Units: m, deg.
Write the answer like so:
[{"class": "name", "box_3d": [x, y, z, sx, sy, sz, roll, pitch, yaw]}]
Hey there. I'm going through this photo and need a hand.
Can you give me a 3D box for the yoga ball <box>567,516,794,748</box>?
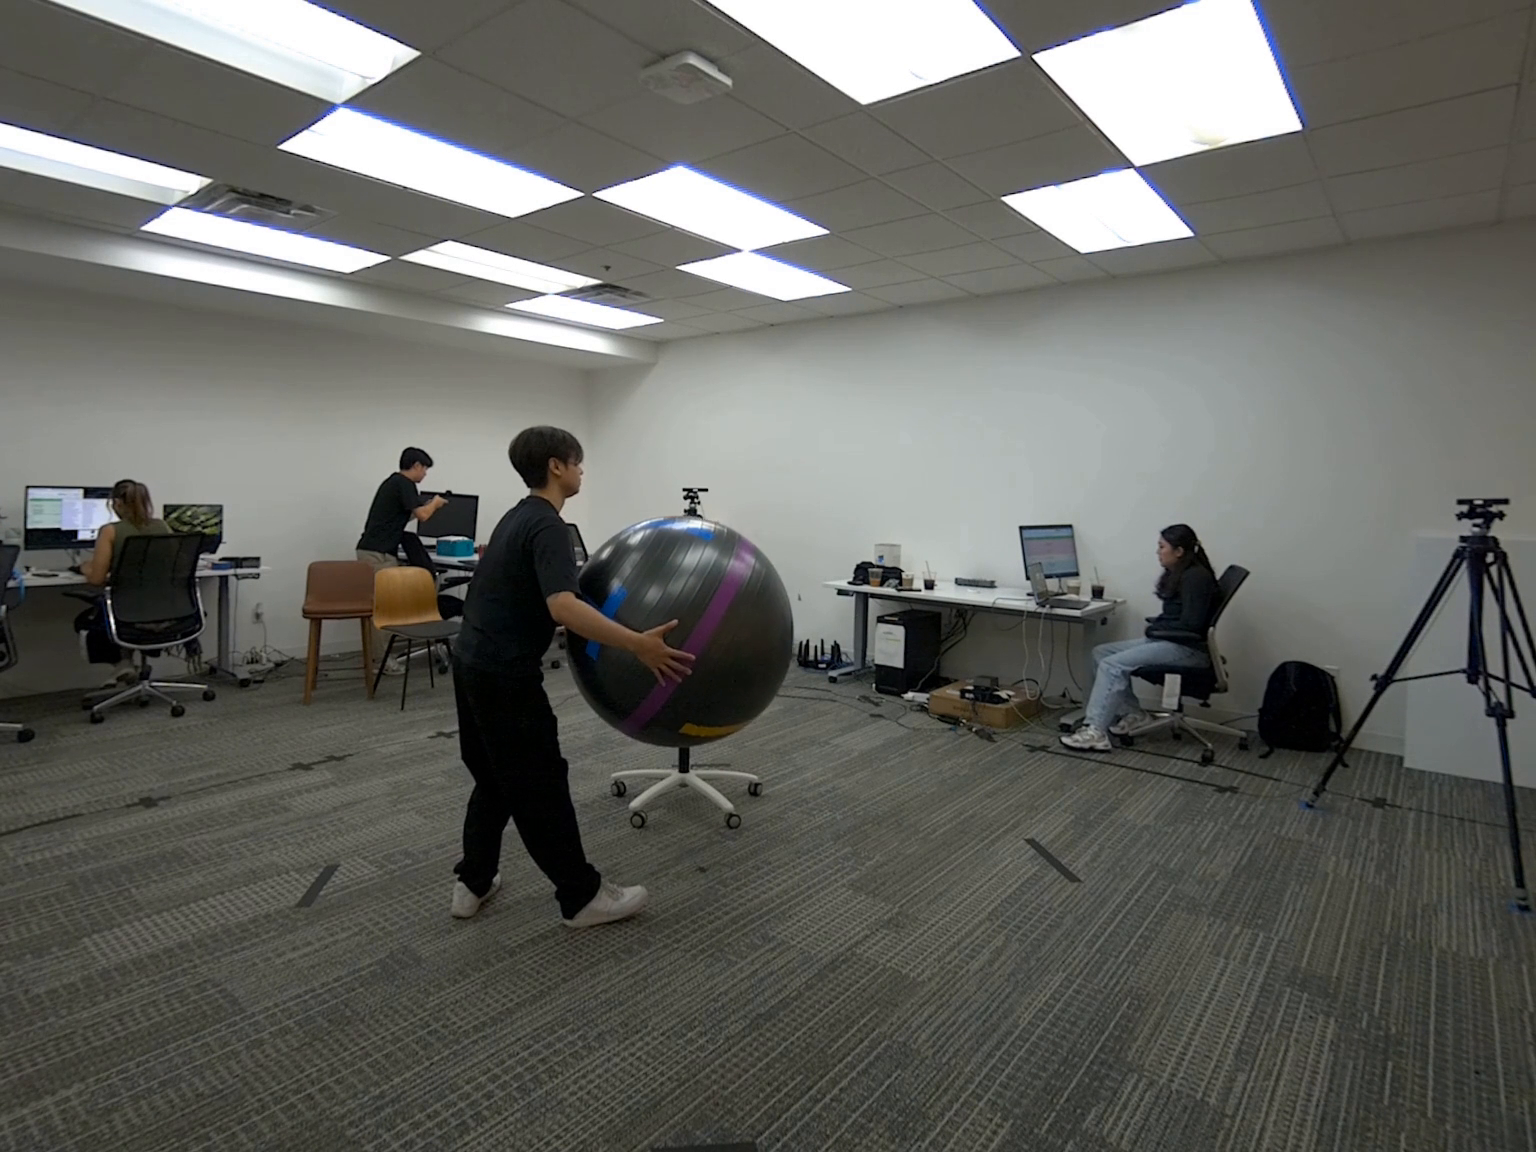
[{"class": "yoga ball", "box_3d": [-0.293, 0.187, 2.829, 0.757, 0.755, 0.762, 1, 4, -2]}]
